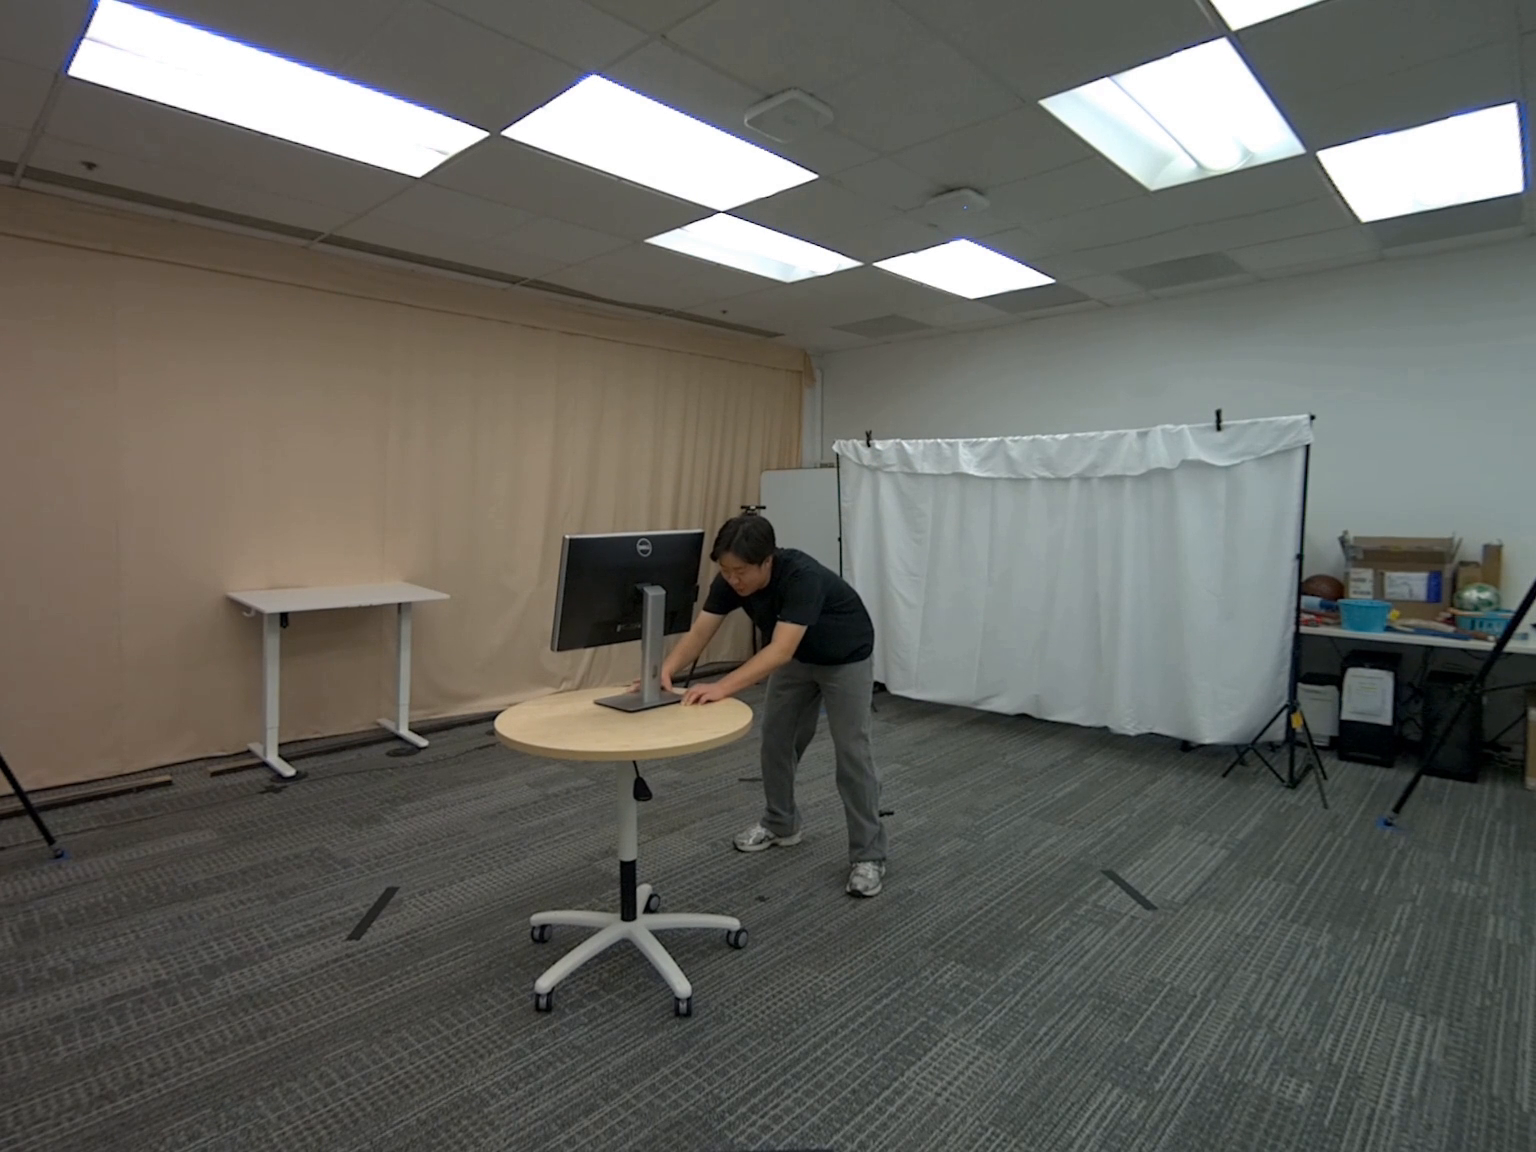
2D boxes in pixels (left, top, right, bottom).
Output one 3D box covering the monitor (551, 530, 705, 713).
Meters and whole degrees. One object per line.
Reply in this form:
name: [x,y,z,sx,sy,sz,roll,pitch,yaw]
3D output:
monitor: [-0.388,0.139,2.651,0.217,0.551,0.548,11,10,42]
